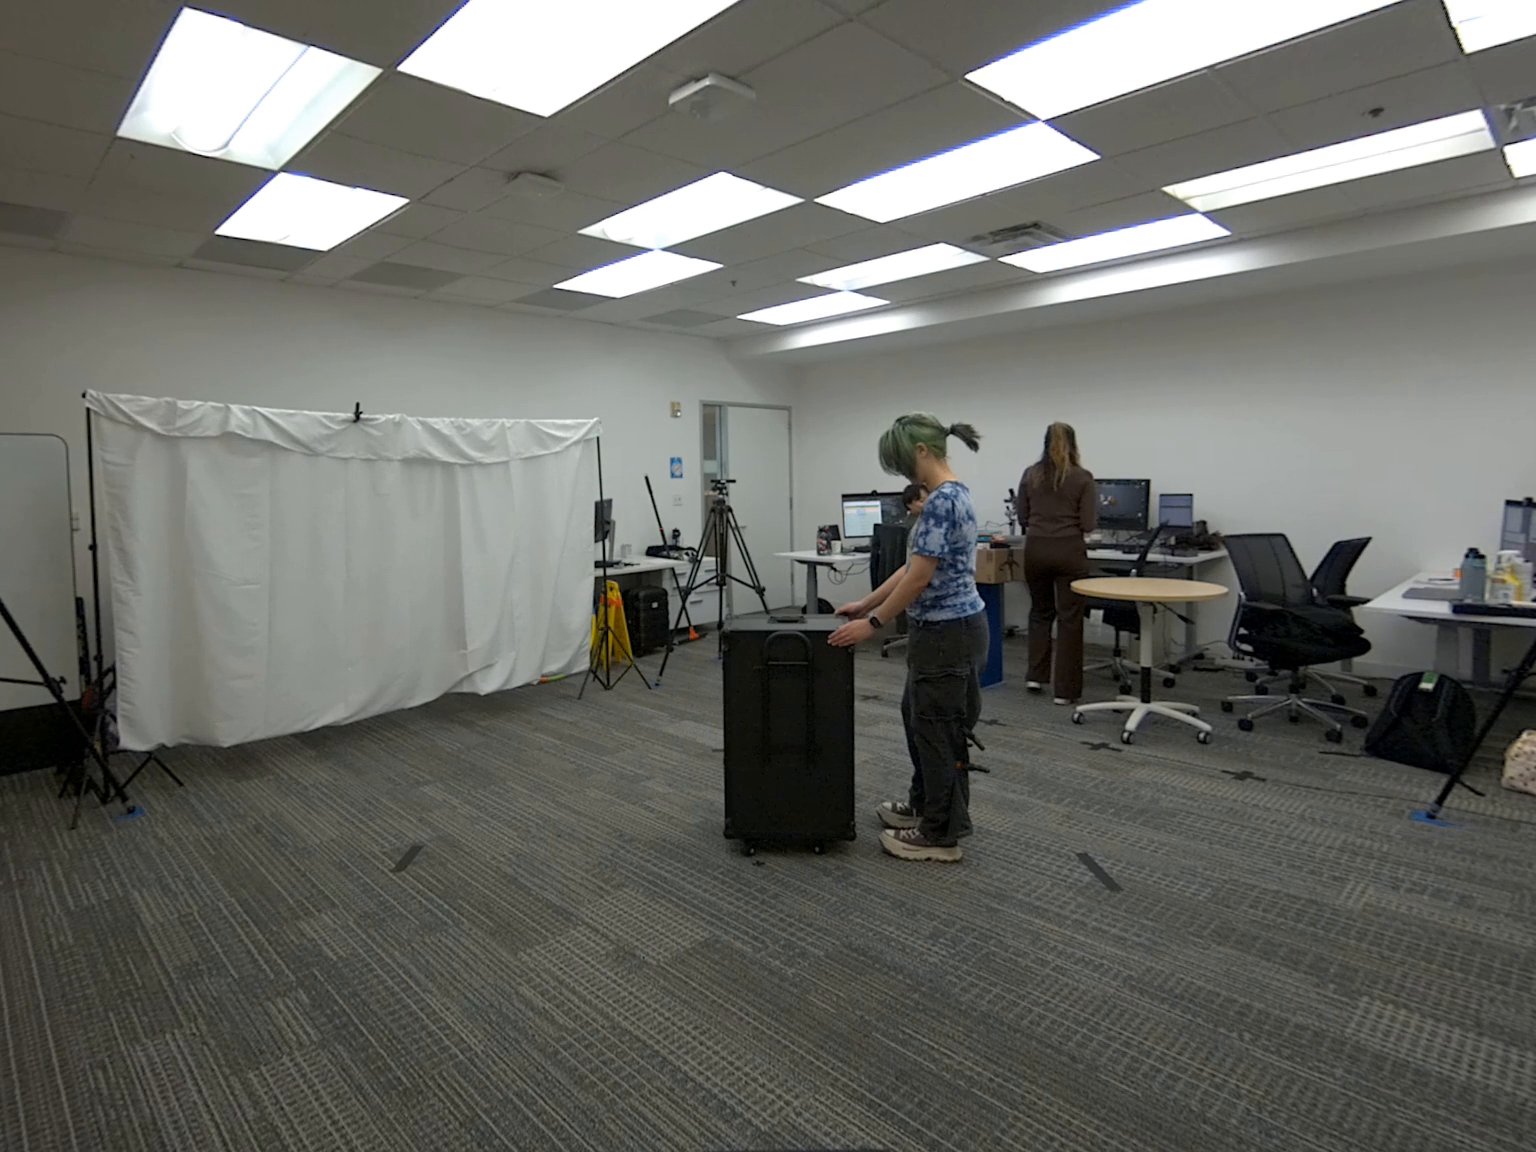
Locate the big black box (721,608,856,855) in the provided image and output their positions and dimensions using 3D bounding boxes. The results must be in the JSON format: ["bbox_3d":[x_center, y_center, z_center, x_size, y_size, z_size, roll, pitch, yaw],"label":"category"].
[{"bbox_3d":[0.085,0.604,3.289,0.523,0.858,0.396,0,5,3],"label":"big black box"}]
